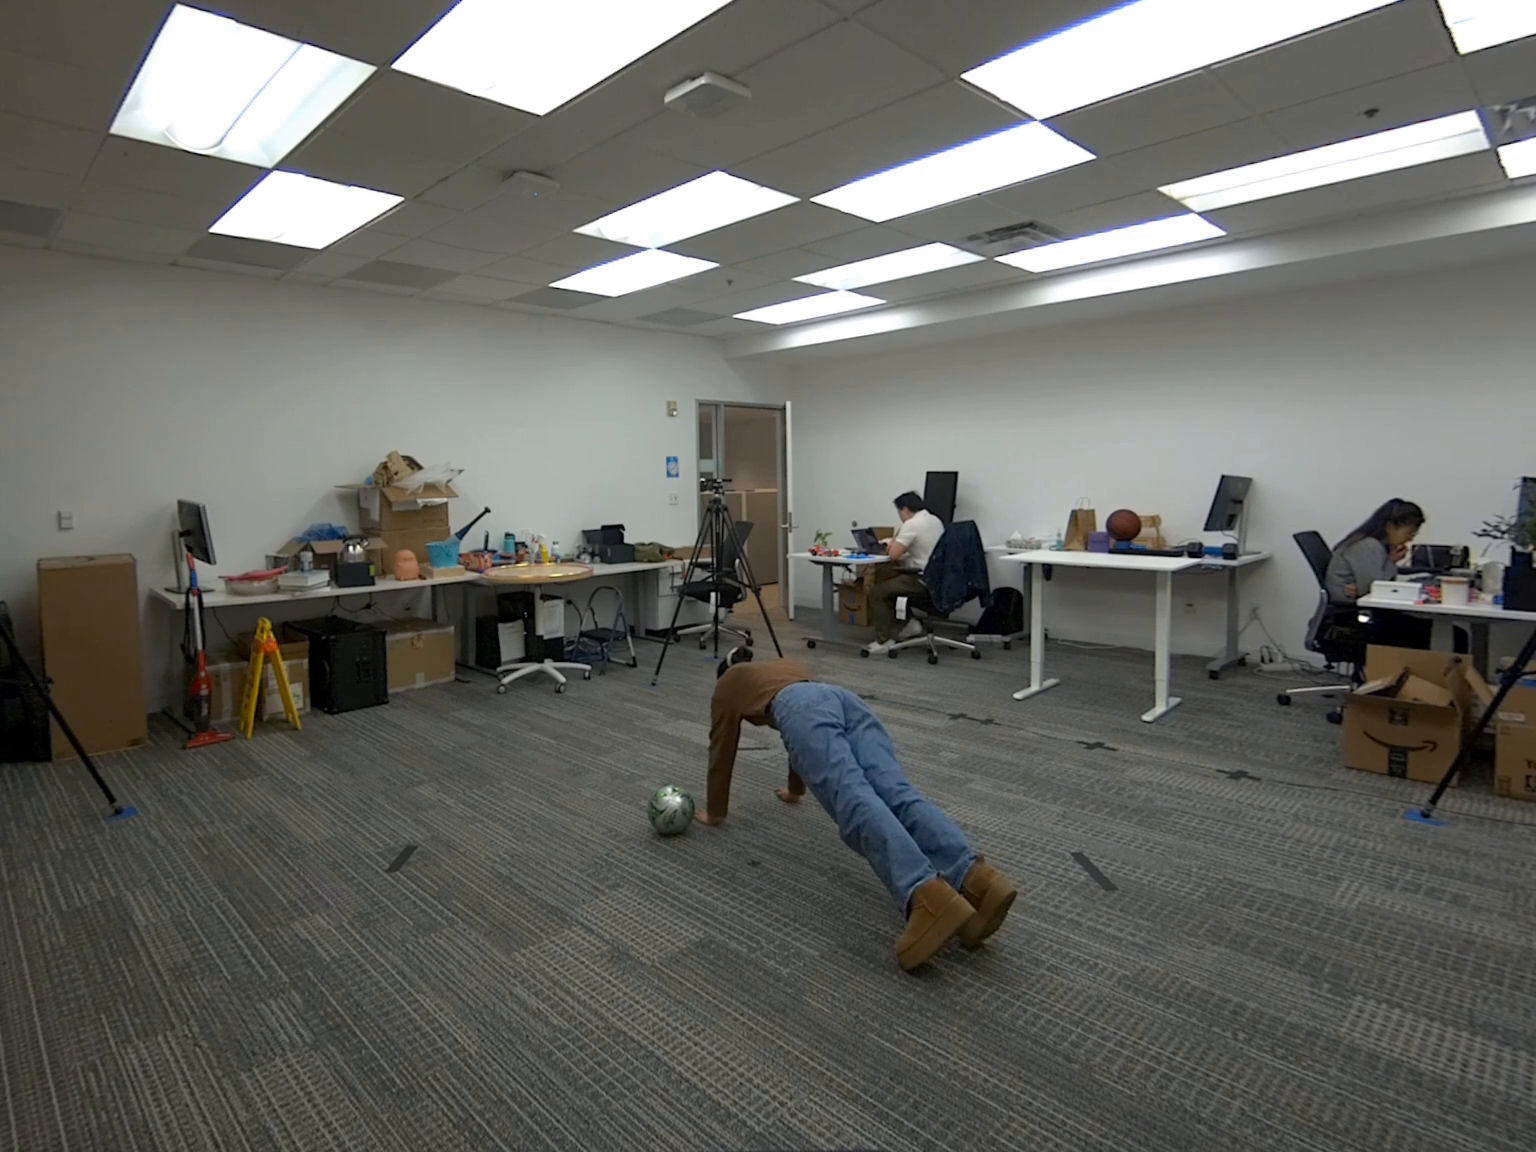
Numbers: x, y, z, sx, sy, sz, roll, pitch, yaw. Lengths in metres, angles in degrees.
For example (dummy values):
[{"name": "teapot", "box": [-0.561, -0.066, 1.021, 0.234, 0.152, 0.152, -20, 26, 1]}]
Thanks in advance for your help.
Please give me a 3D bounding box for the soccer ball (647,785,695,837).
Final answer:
[{"name": "soccer ball", "box": [-0.381, 0.923, 3.377, 0.187, 0.187, 0.188, -1, 5, -2]}]
